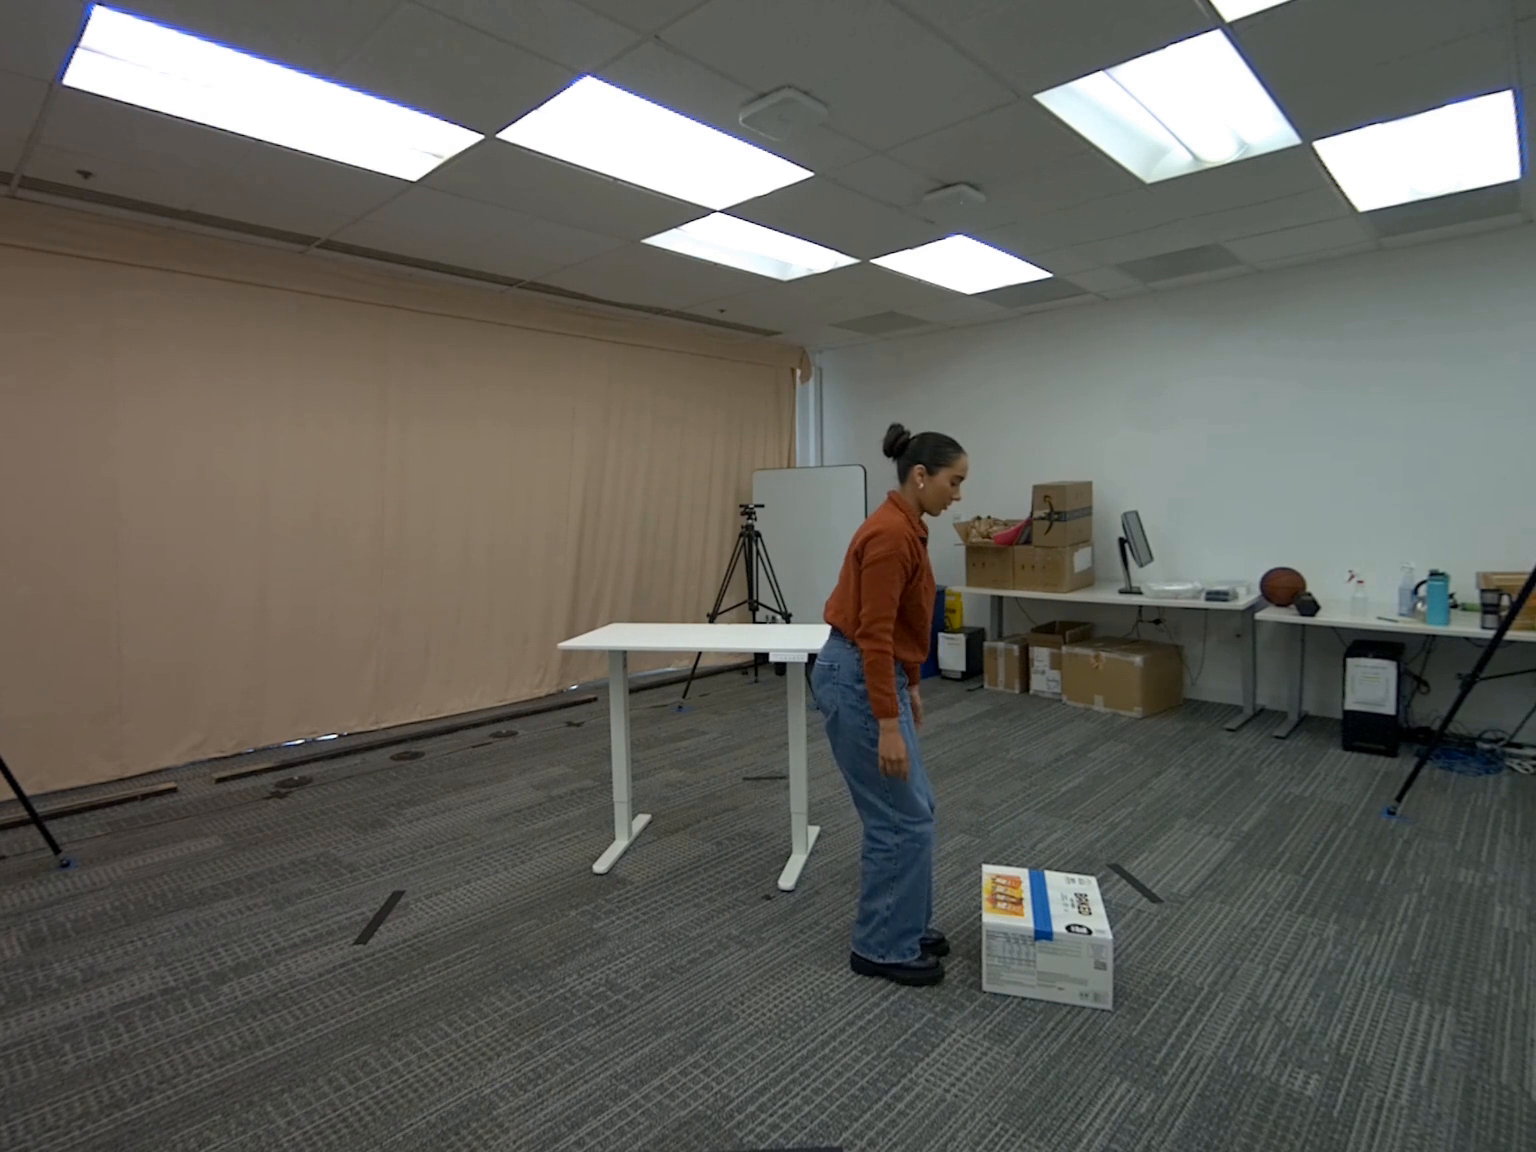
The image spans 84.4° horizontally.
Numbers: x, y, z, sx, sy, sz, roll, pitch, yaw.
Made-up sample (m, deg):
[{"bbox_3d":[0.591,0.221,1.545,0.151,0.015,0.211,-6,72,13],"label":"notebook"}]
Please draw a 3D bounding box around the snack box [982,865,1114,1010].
[{"bbox_3d":[0.828,1.065,2.513,0.346,0.205,0.399,0,4,16],"label":"snack box"}]
